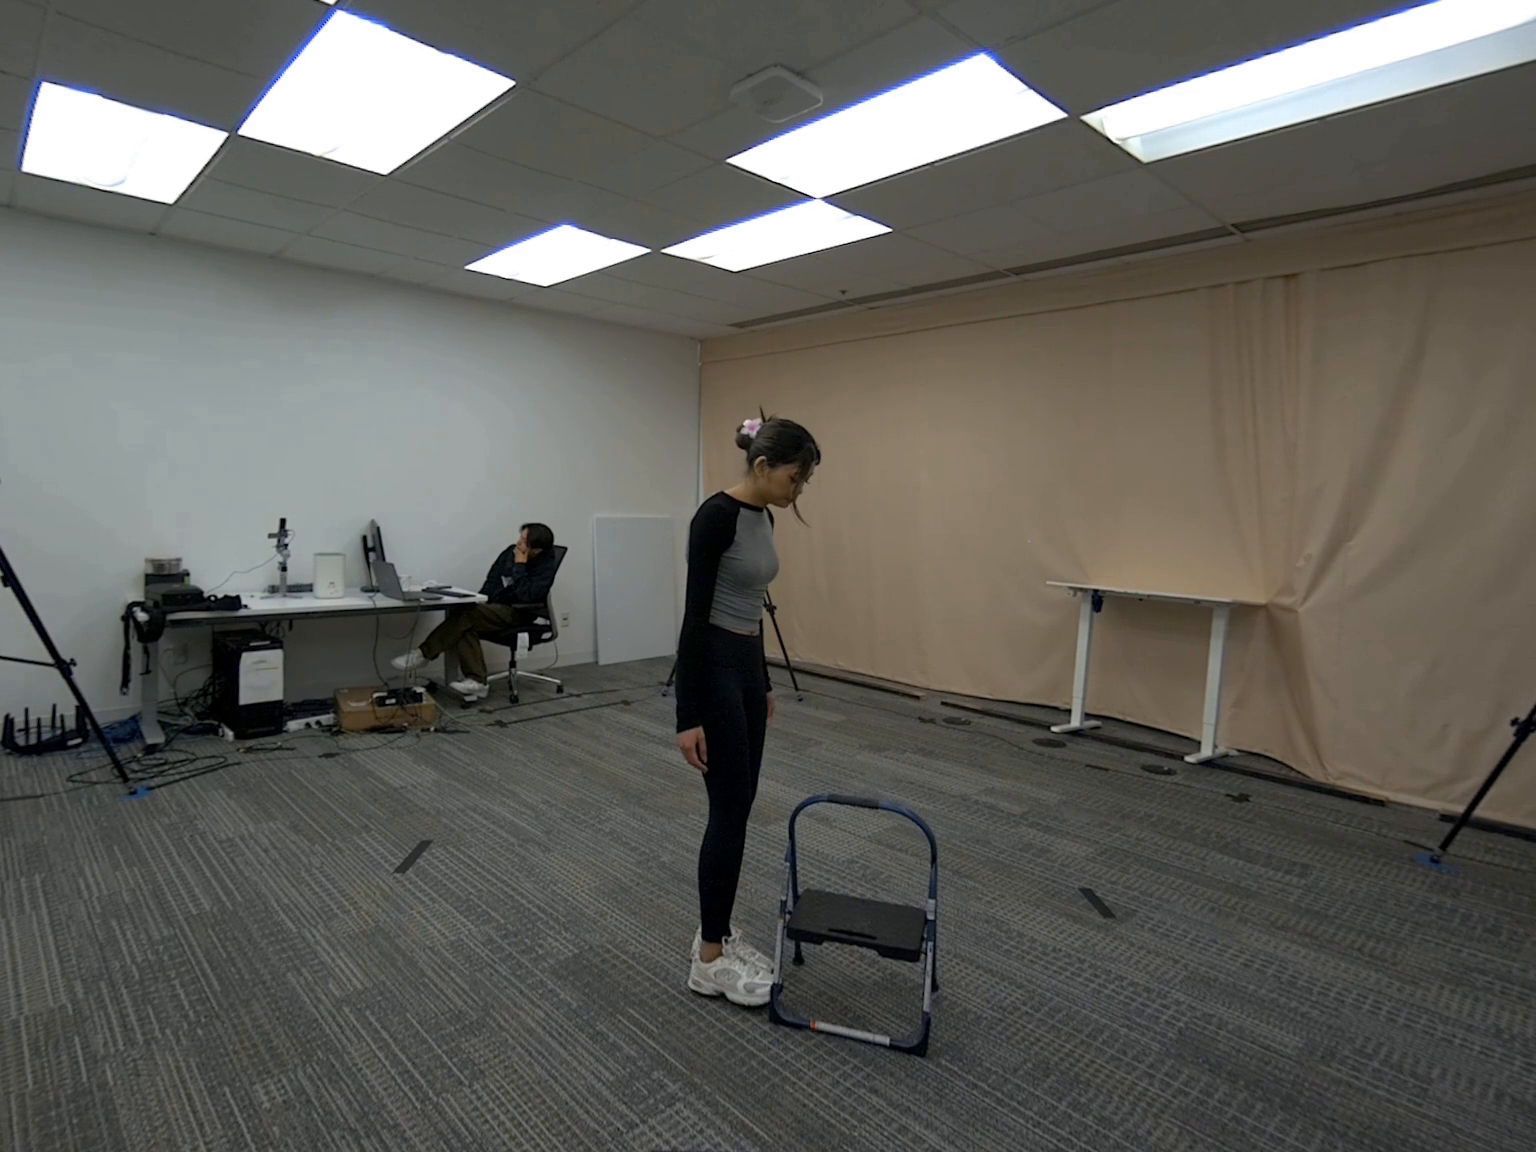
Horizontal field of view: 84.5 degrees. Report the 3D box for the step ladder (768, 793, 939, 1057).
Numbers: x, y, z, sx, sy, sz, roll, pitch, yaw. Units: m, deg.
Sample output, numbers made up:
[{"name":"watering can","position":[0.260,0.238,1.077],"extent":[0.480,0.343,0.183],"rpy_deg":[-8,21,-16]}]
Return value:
[{"name":"step ladder","position":[0.251,0.893,2.313],"extent":[0.436,0.605,0.345],"rpy_deg":[4,3,15]}]
